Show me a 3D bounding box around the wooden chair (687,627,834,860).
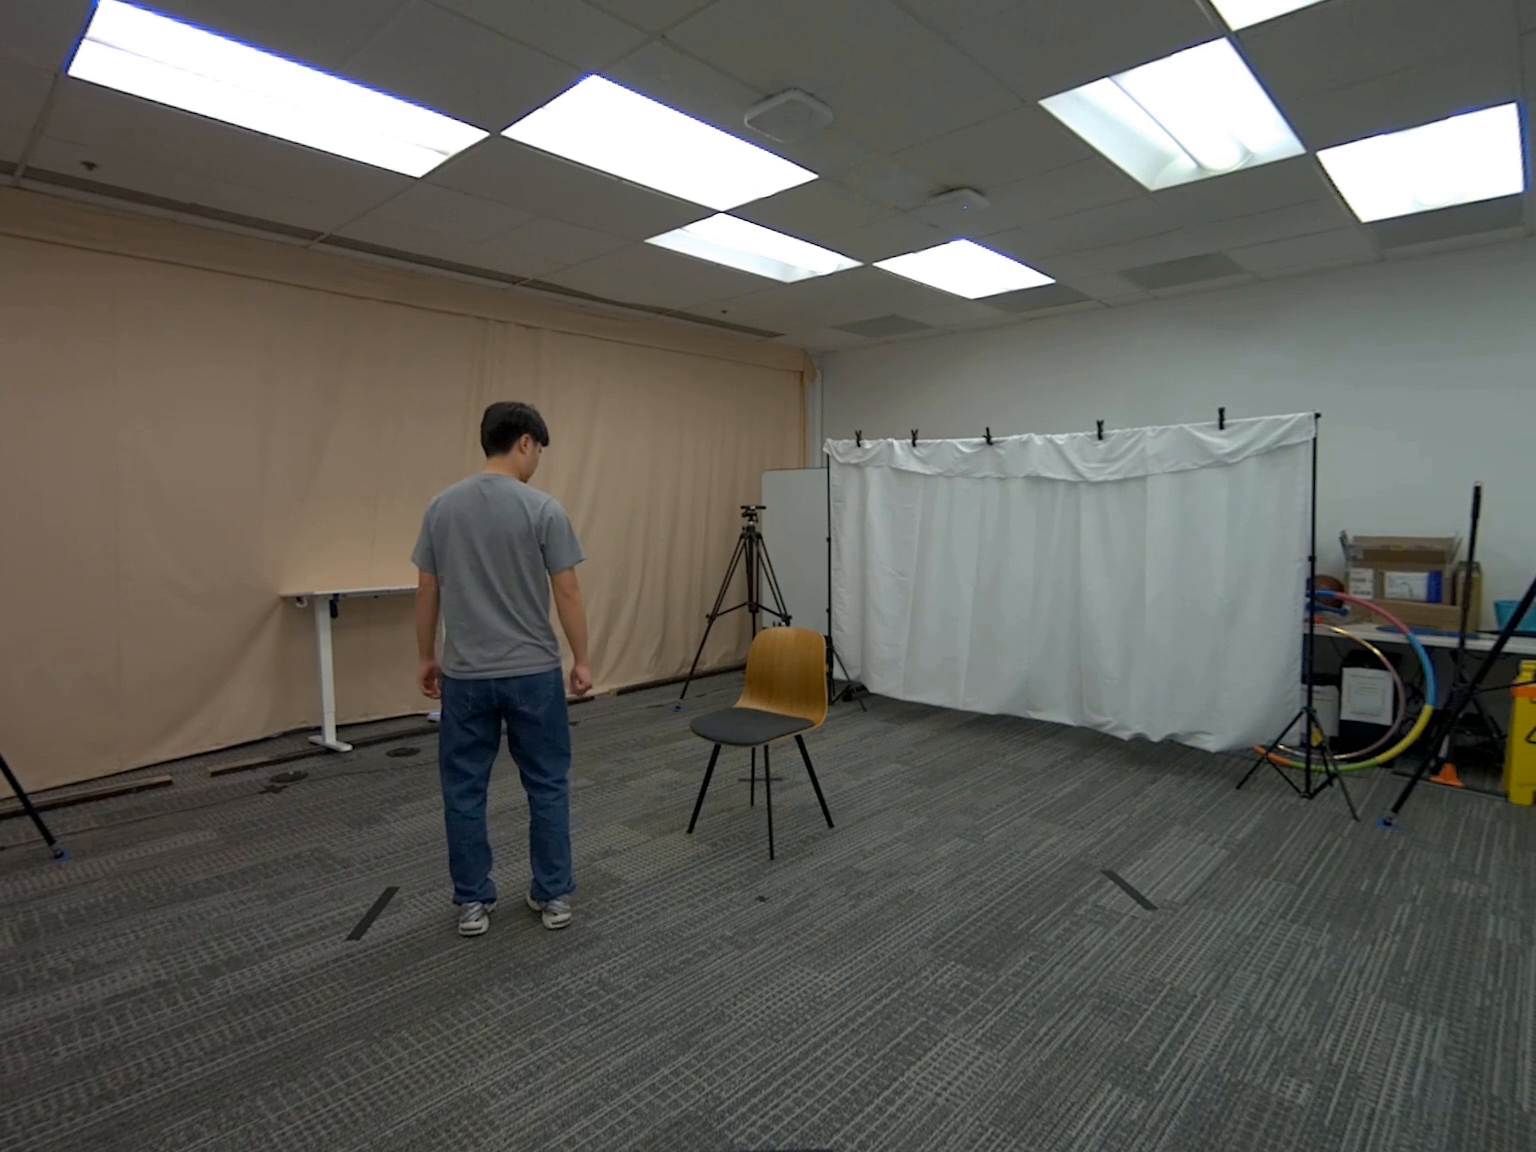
[{"bbox_3d":[-0.034,0.666,3.582,0.493,0.878,0.506,2,-1,38],"label":"wooden chair"}]
